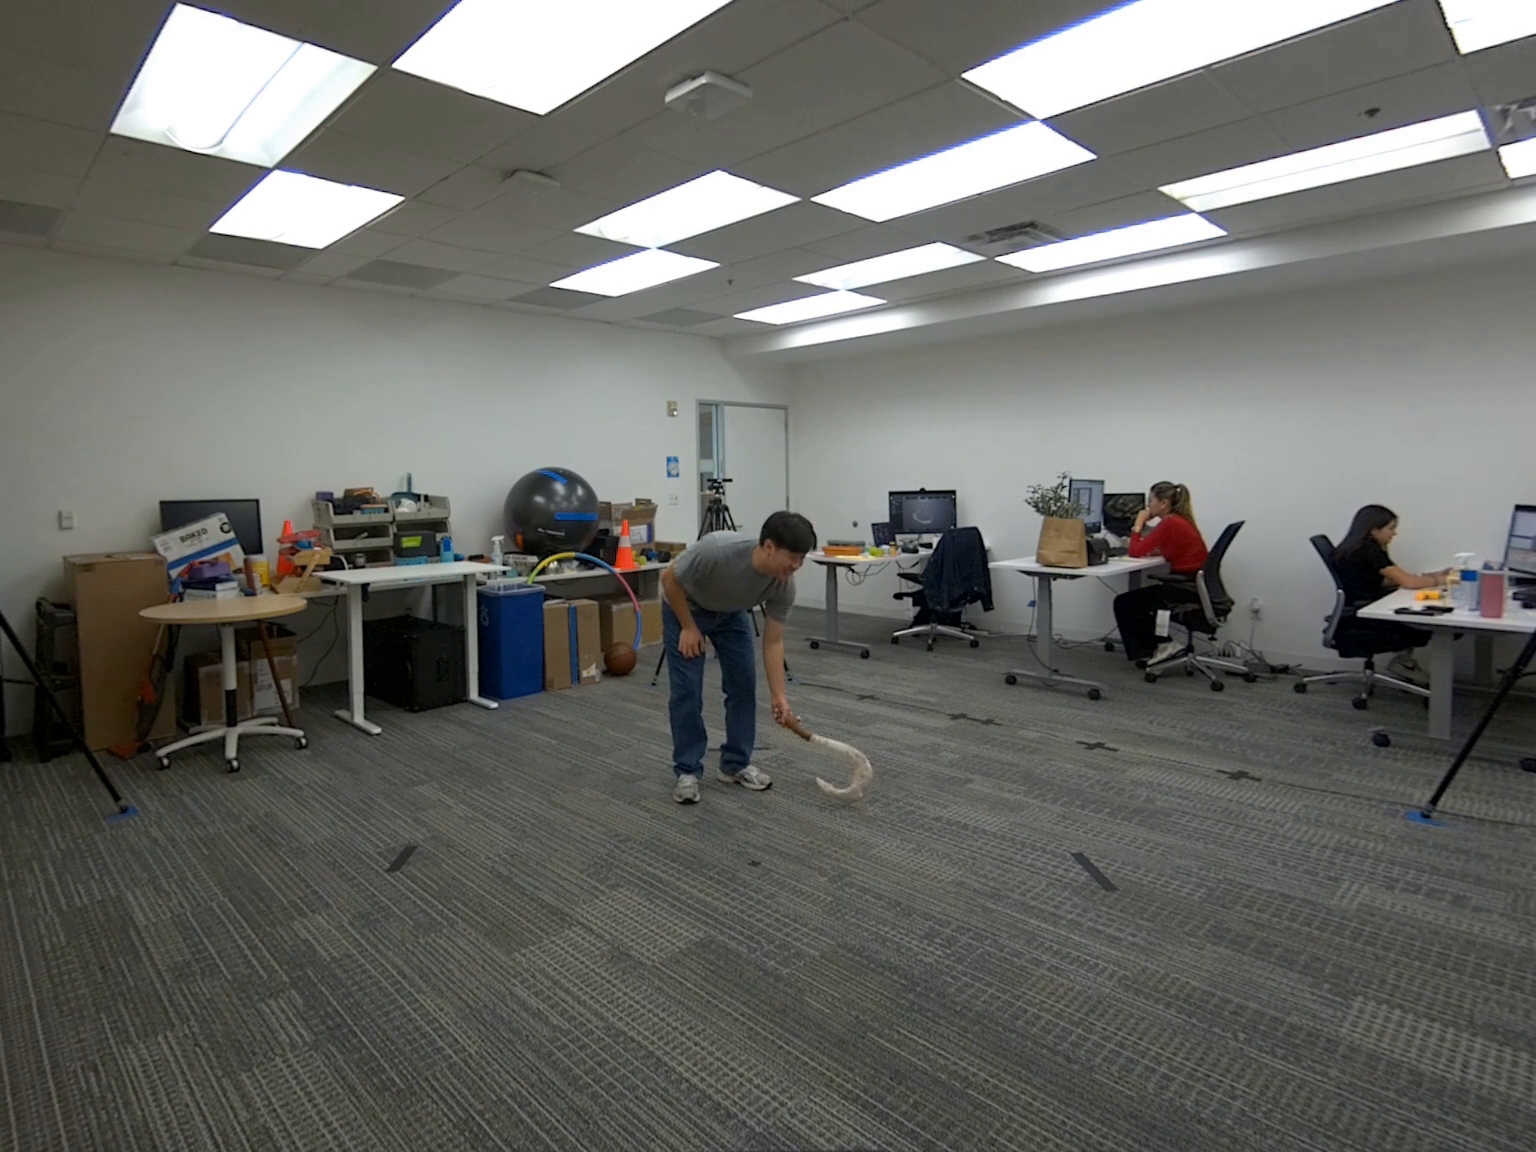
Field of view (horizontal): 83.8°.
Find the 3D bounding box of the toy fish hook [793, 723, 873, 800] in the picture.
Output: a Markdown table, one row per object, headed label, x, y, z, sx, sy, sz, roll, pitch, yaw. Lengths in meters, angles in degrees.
| label | x | y | z | sx | sy | sz | roll | pitch | yaw |
| --- | --- | --- | --- | --- | --- | --- | --- | --- | --- |
| toy fish hook | 0.213 | 0.729 | 3.658 | 0.517 | 0.225 | 0.047 | 31 | -26 | 15 |
